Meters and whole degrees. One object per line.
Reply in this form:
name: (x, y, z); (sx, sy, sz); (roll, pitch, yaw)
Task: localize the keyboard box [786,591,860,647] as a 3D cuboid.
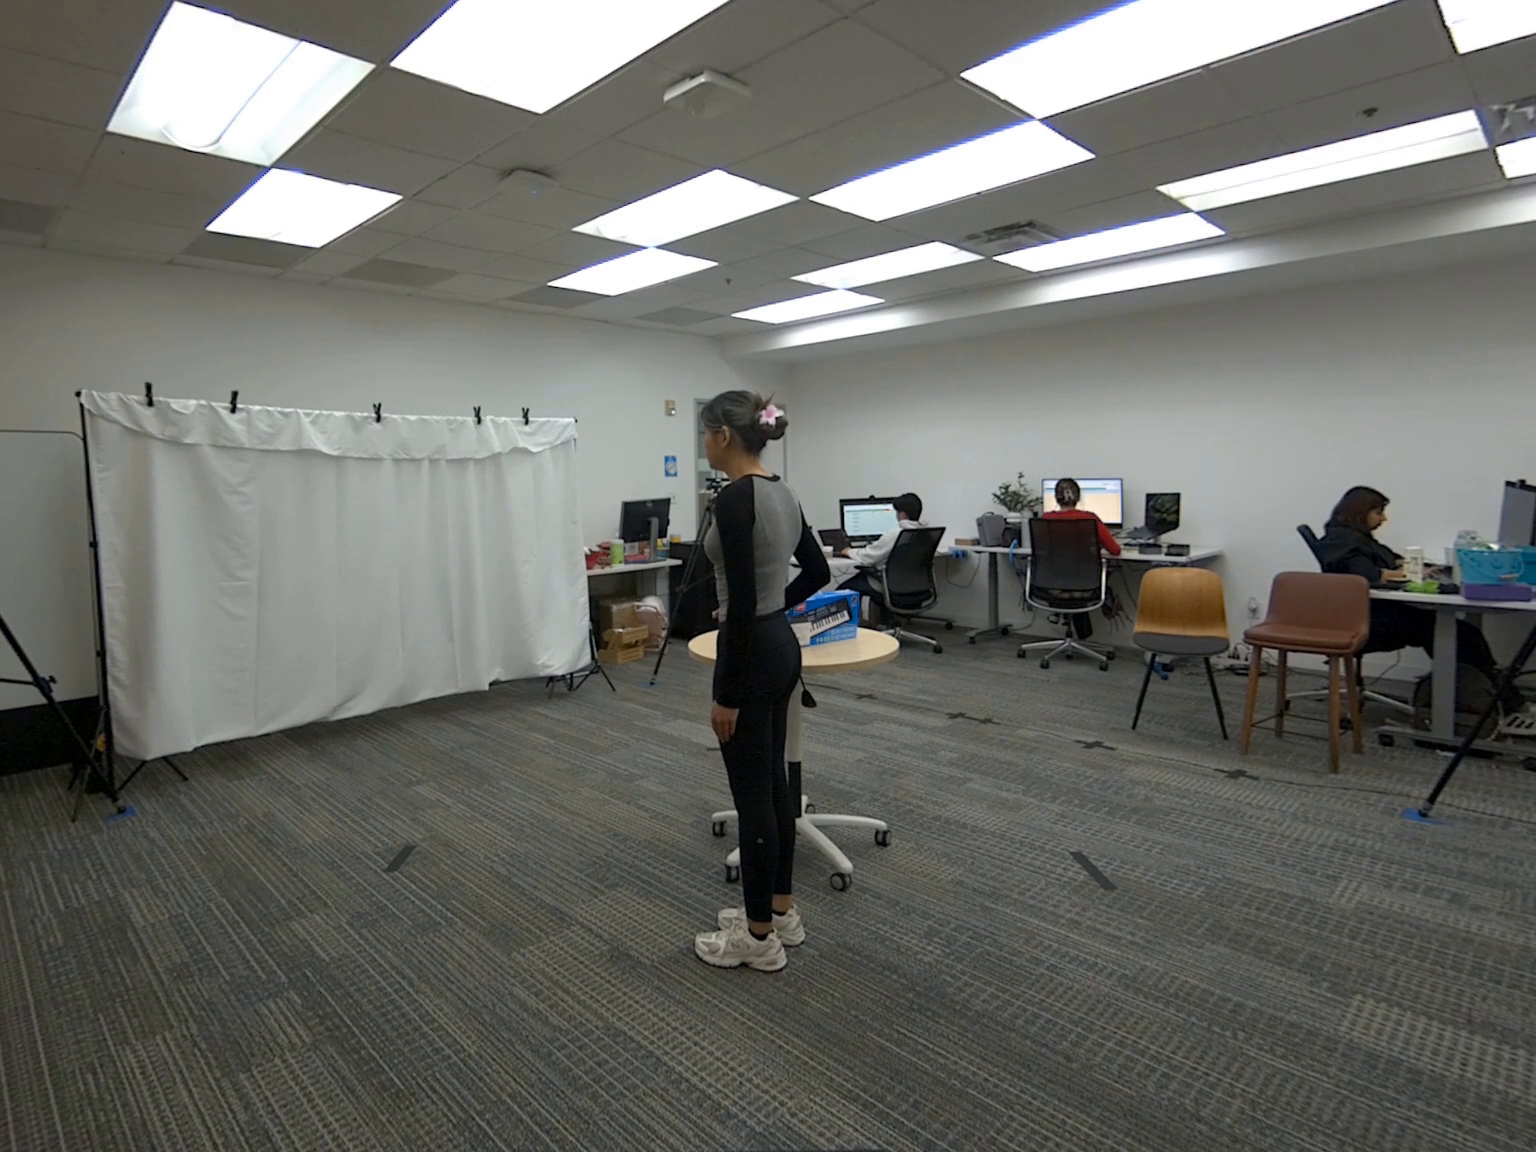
keyboard box: (0.153, 0.161, 3.081); (0.426, 0.174, 0.061); (-7, 12, -38)
